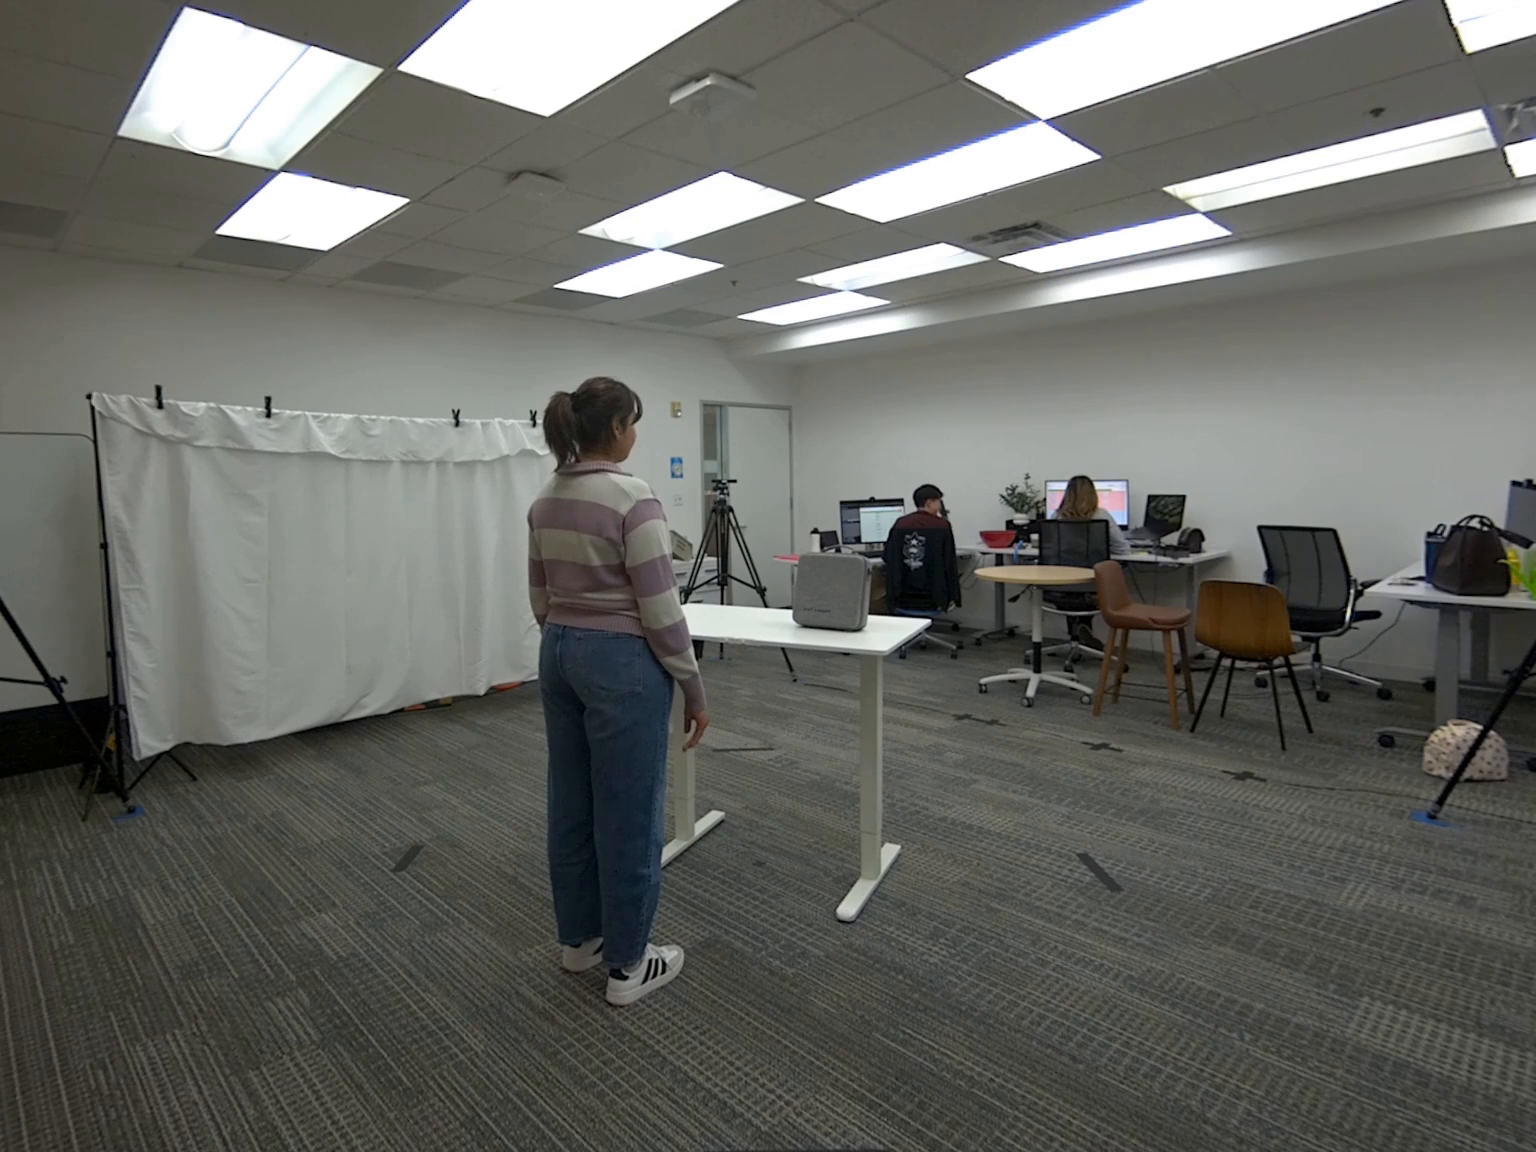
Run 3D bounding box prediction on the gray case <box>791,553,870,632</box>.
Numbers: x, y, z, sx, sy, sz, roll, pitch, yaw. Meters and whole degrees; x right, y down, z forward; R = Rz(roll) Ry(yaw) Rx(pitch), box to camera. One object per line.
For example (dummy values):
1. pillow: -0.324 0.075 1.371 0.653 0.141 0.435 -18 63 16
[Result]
1. gray case: 0.219 0.047 2.949 0.264 0.262 0.101 4 -5 31
